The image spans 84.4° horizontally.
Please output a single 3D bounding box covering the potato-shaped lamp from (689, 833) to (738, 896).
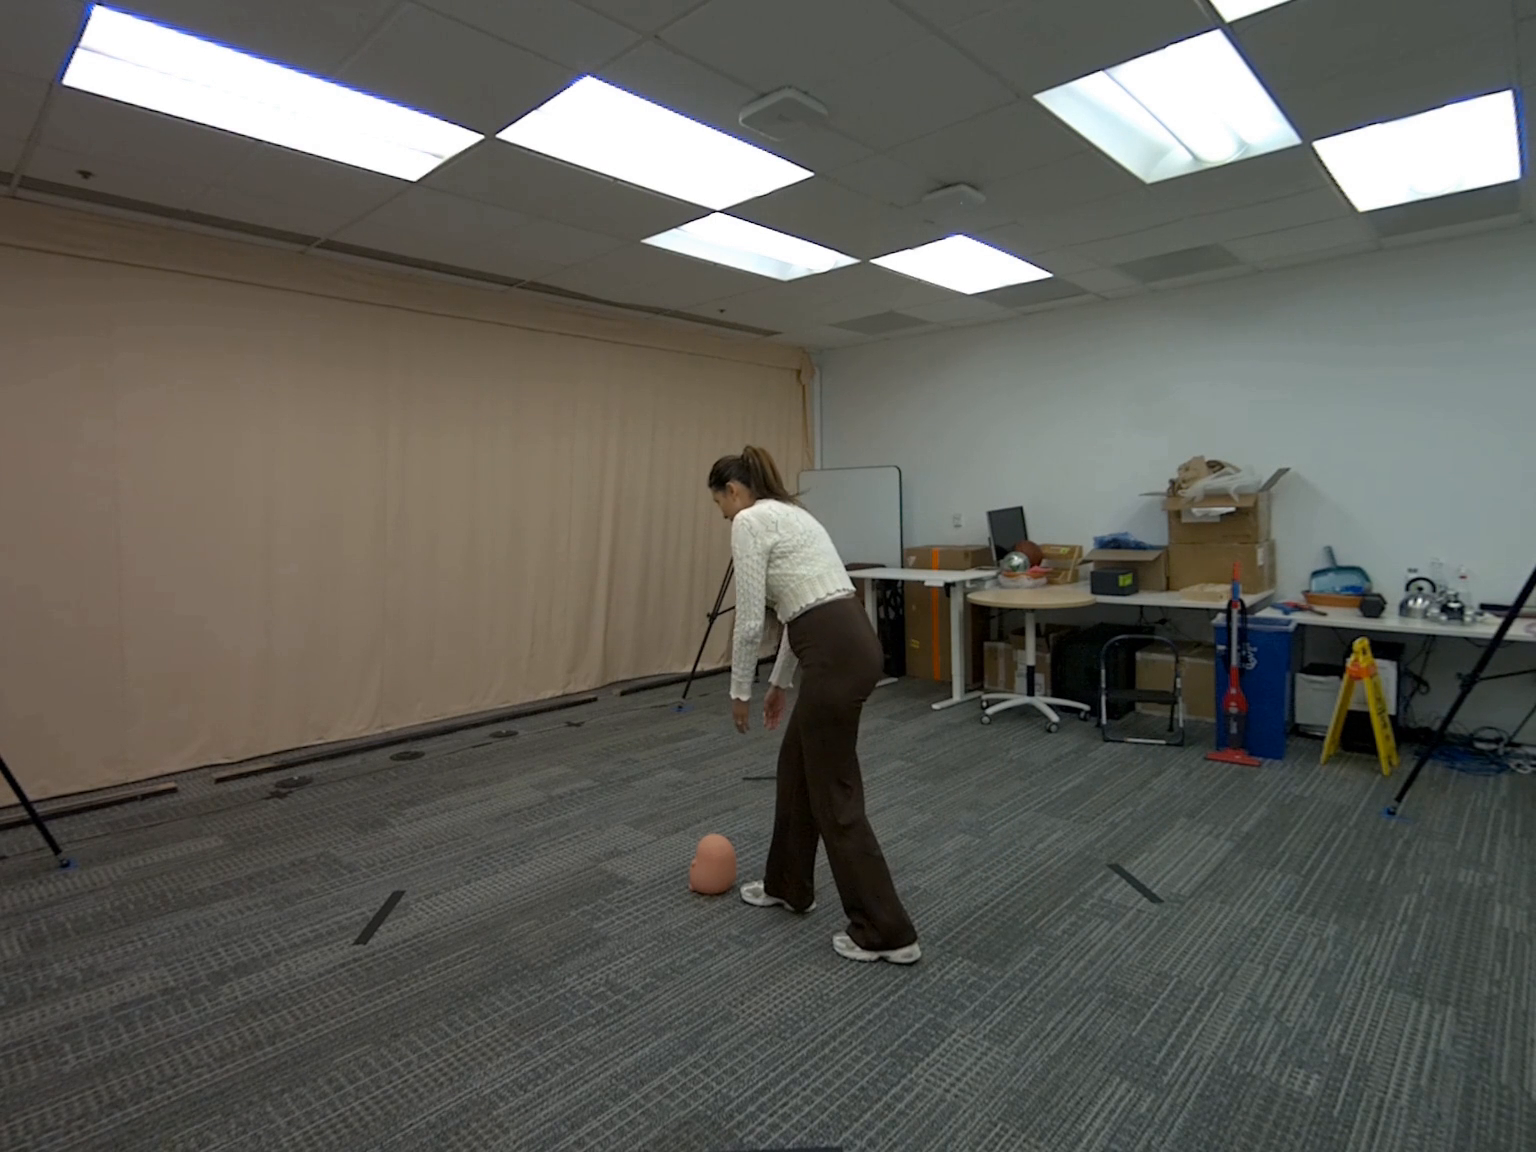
[{"bbox_3d":[-0.198,1.041,3.052,0.176,0.198,0.160,2,3,27],"label":"potato-shaped lamp"}]
